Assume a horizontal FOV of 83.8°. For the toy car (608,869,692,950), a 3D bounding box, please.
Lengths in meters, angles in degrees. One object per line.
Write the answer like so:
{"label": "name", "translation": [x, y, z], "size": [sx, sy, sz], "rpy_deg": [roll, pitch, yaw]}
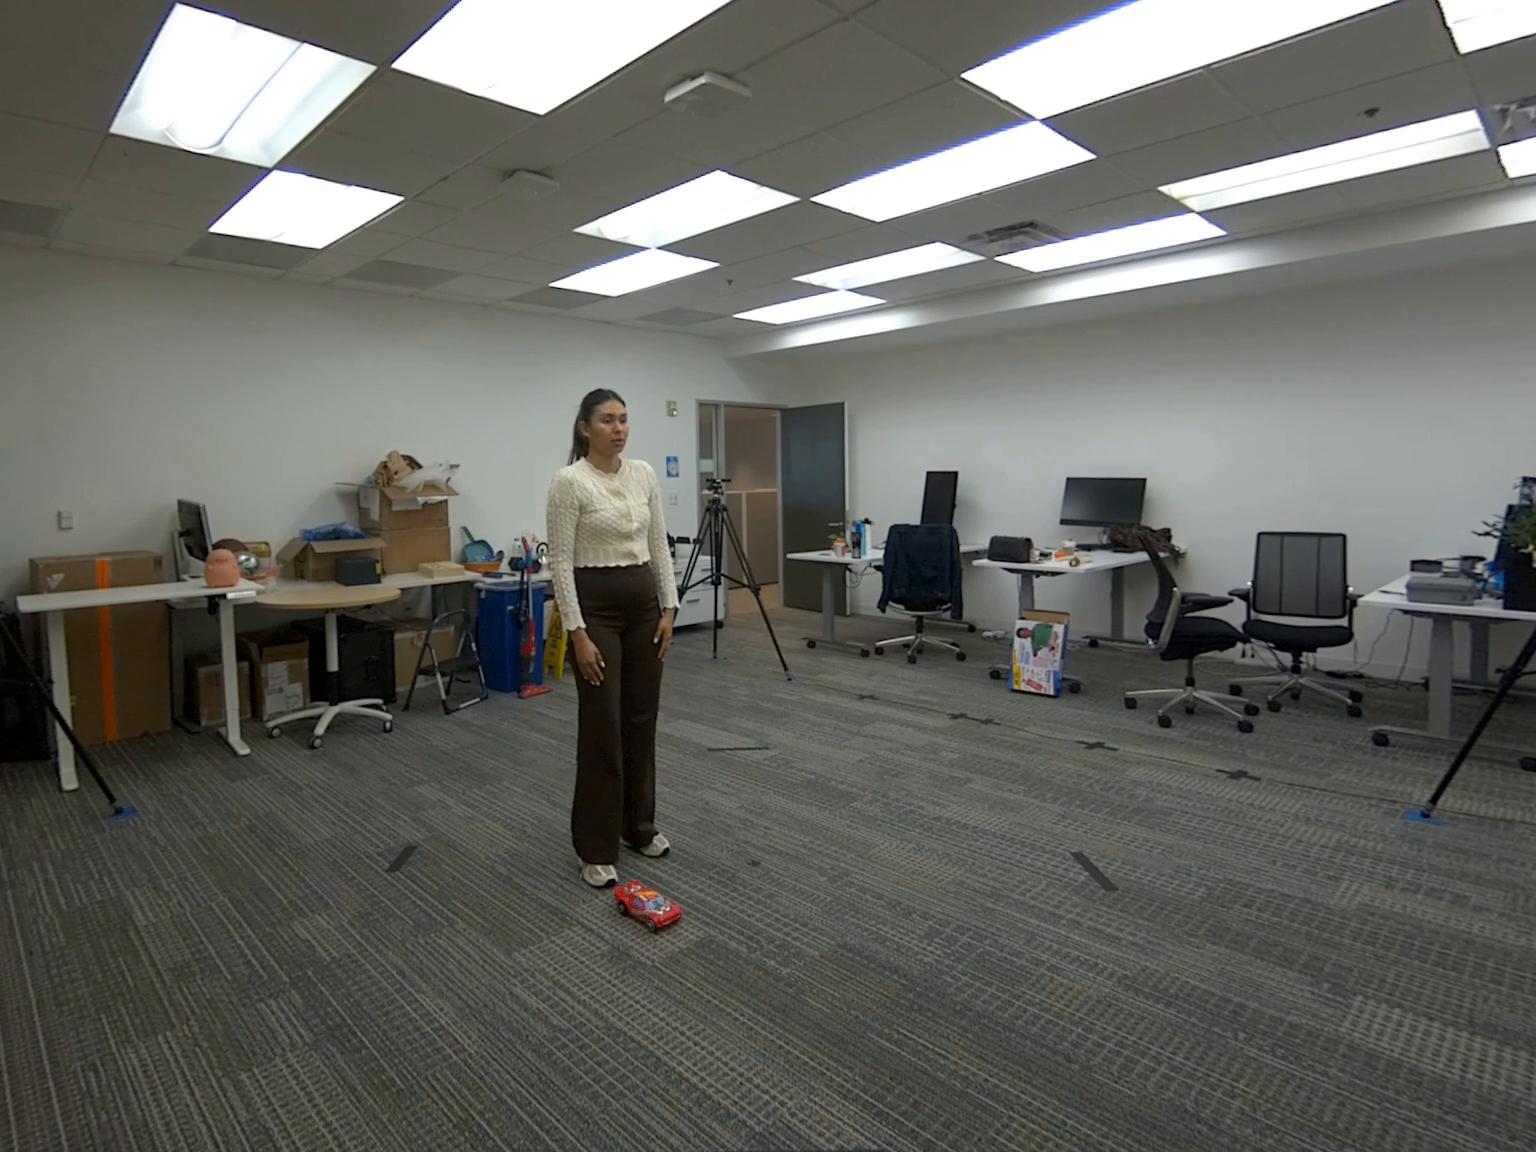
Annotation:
{"label": "toy car", "translation": [-0.383, 1.062, 2.748], "size": [0.127, 0.082, 0.264], "rpy_deg": [-8, 19, -44]}
